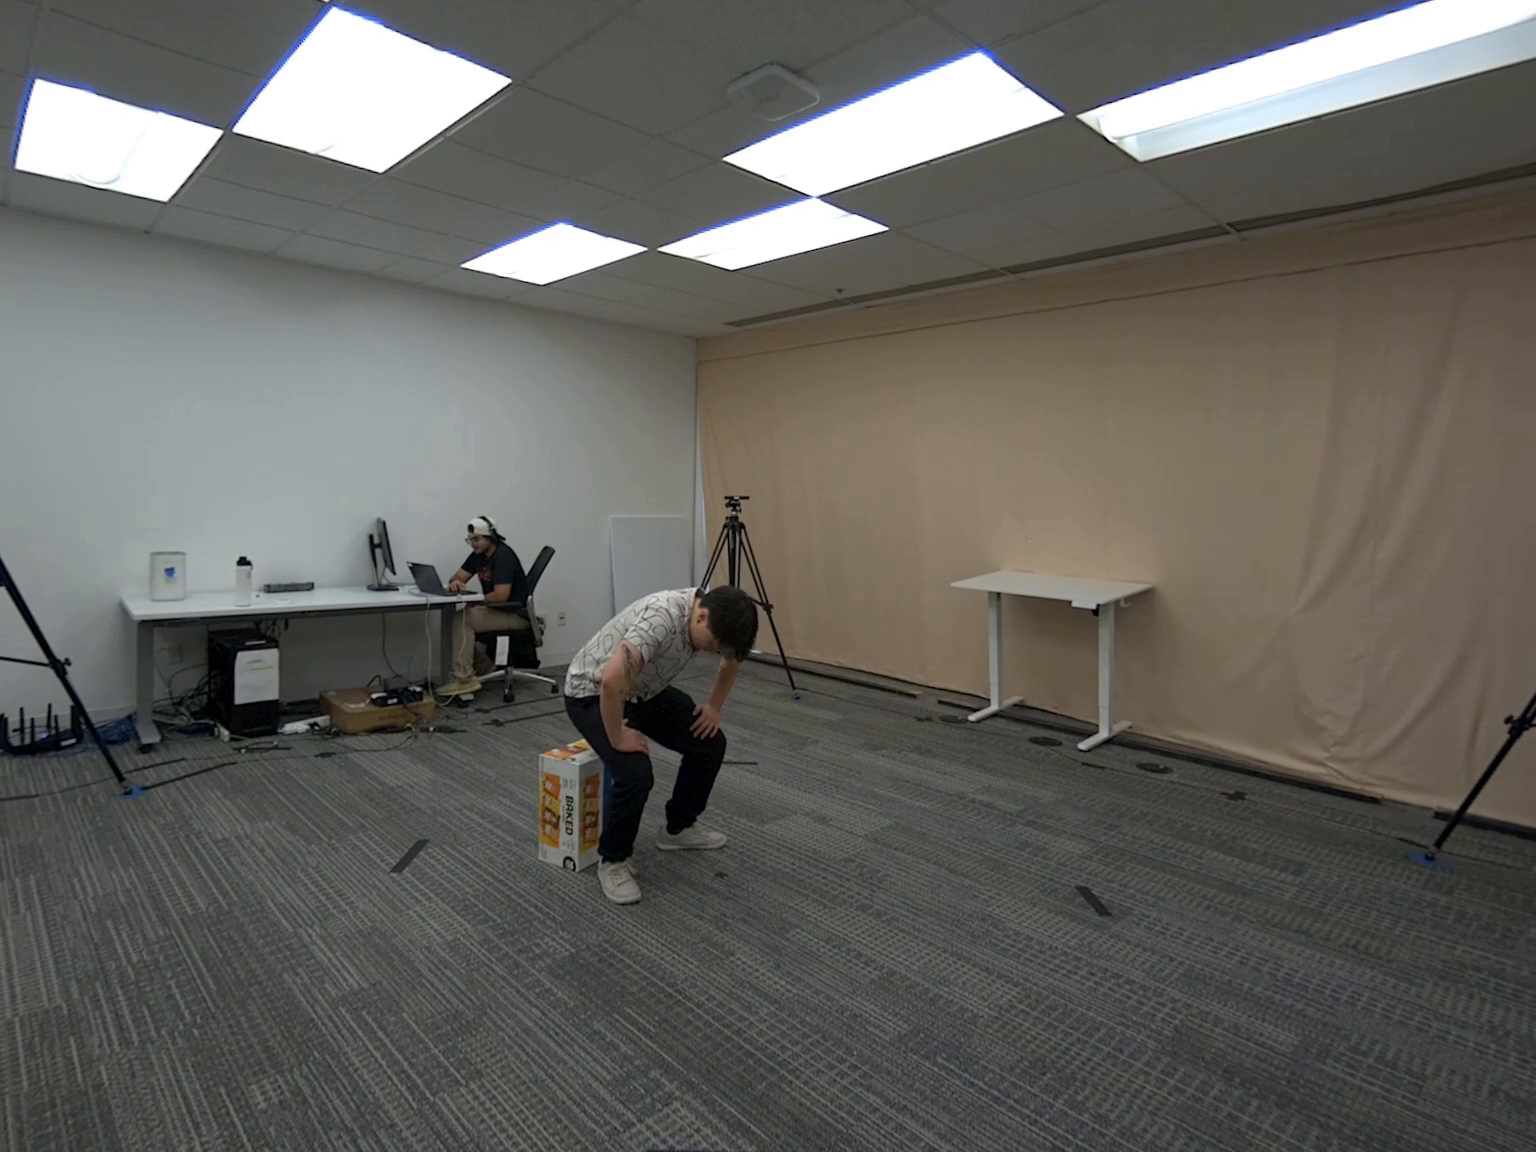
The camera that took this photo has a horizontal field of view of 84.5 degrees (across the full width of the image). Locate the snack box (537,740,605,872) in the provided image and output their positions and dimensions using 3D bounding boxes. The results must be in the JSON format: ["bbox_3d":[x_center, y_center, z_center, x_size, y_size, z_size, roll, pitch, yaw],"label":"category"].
[{"bbox_3d":[-0.706,0.871,3.275,0.210,0.404,0.334,4,5,29],"label":"snack box"}]
